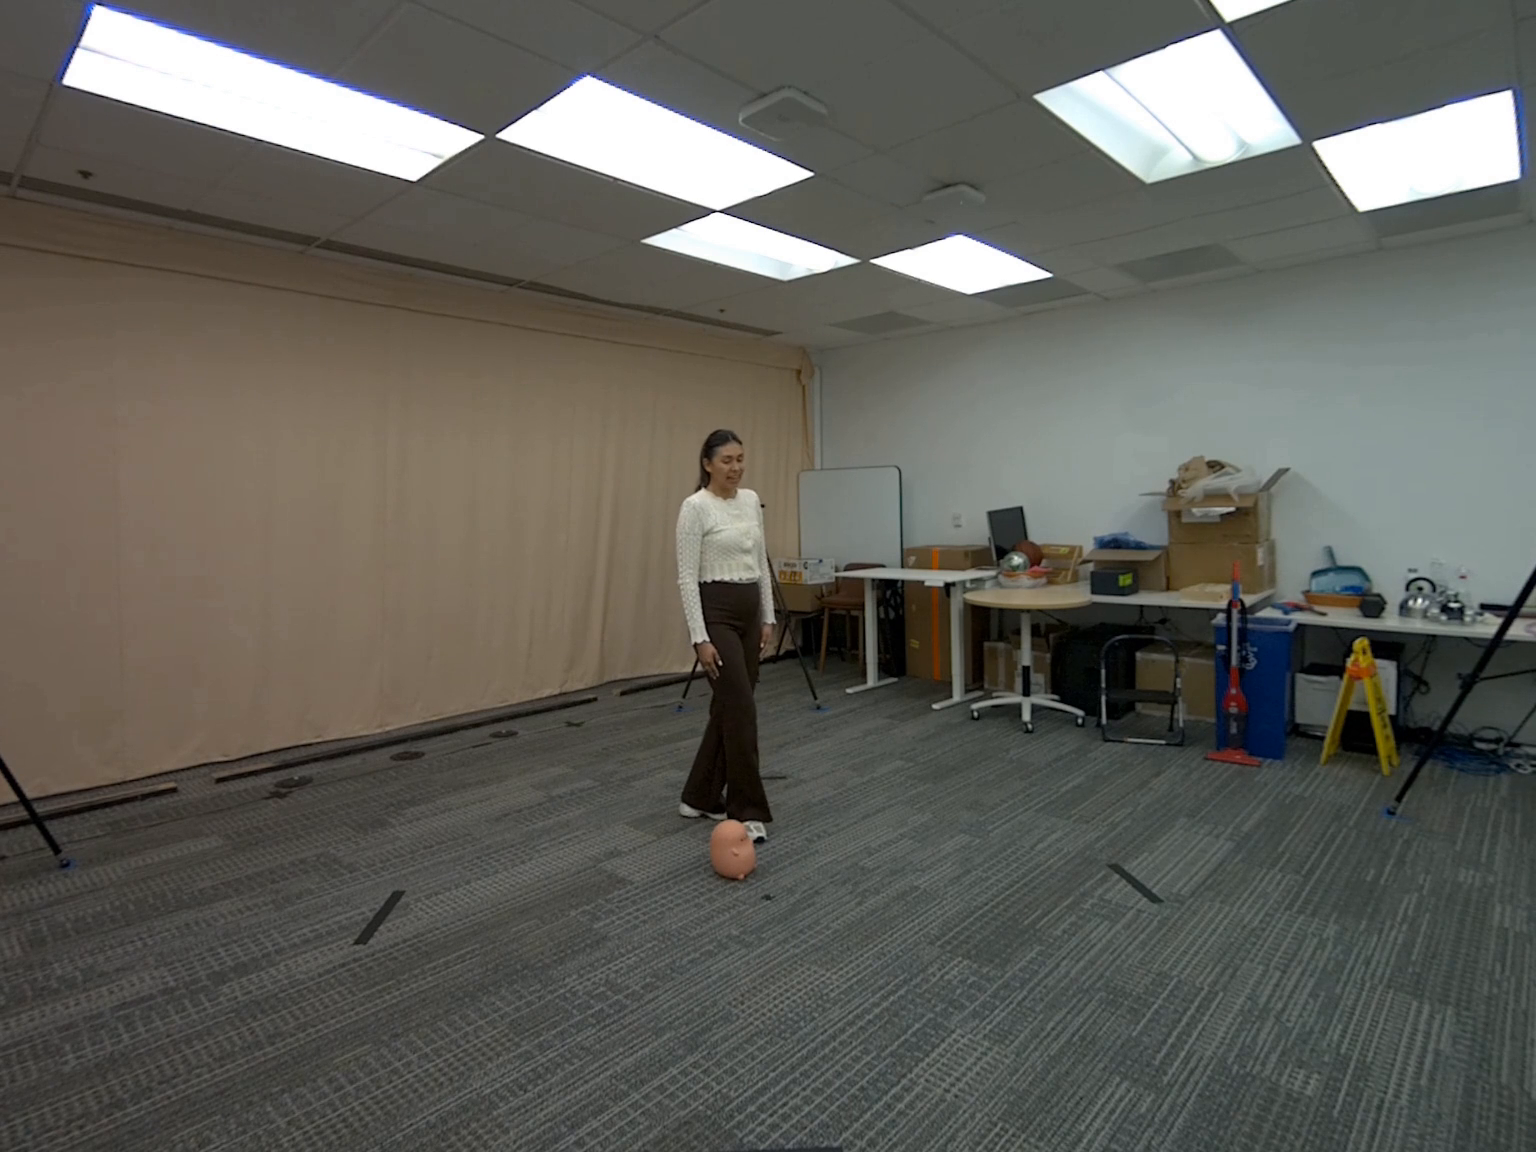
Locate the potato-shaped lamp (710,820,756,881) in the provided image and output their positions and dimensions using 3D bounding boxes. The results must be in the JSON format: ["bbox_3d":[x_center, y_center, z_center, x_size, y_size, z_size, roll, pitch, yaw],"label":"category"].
[{"bbox_3d":[-0.136,1.019,3.185,0.176,0.198,0.160,1,2,30],"label":"potato-shaped lamp"}]
